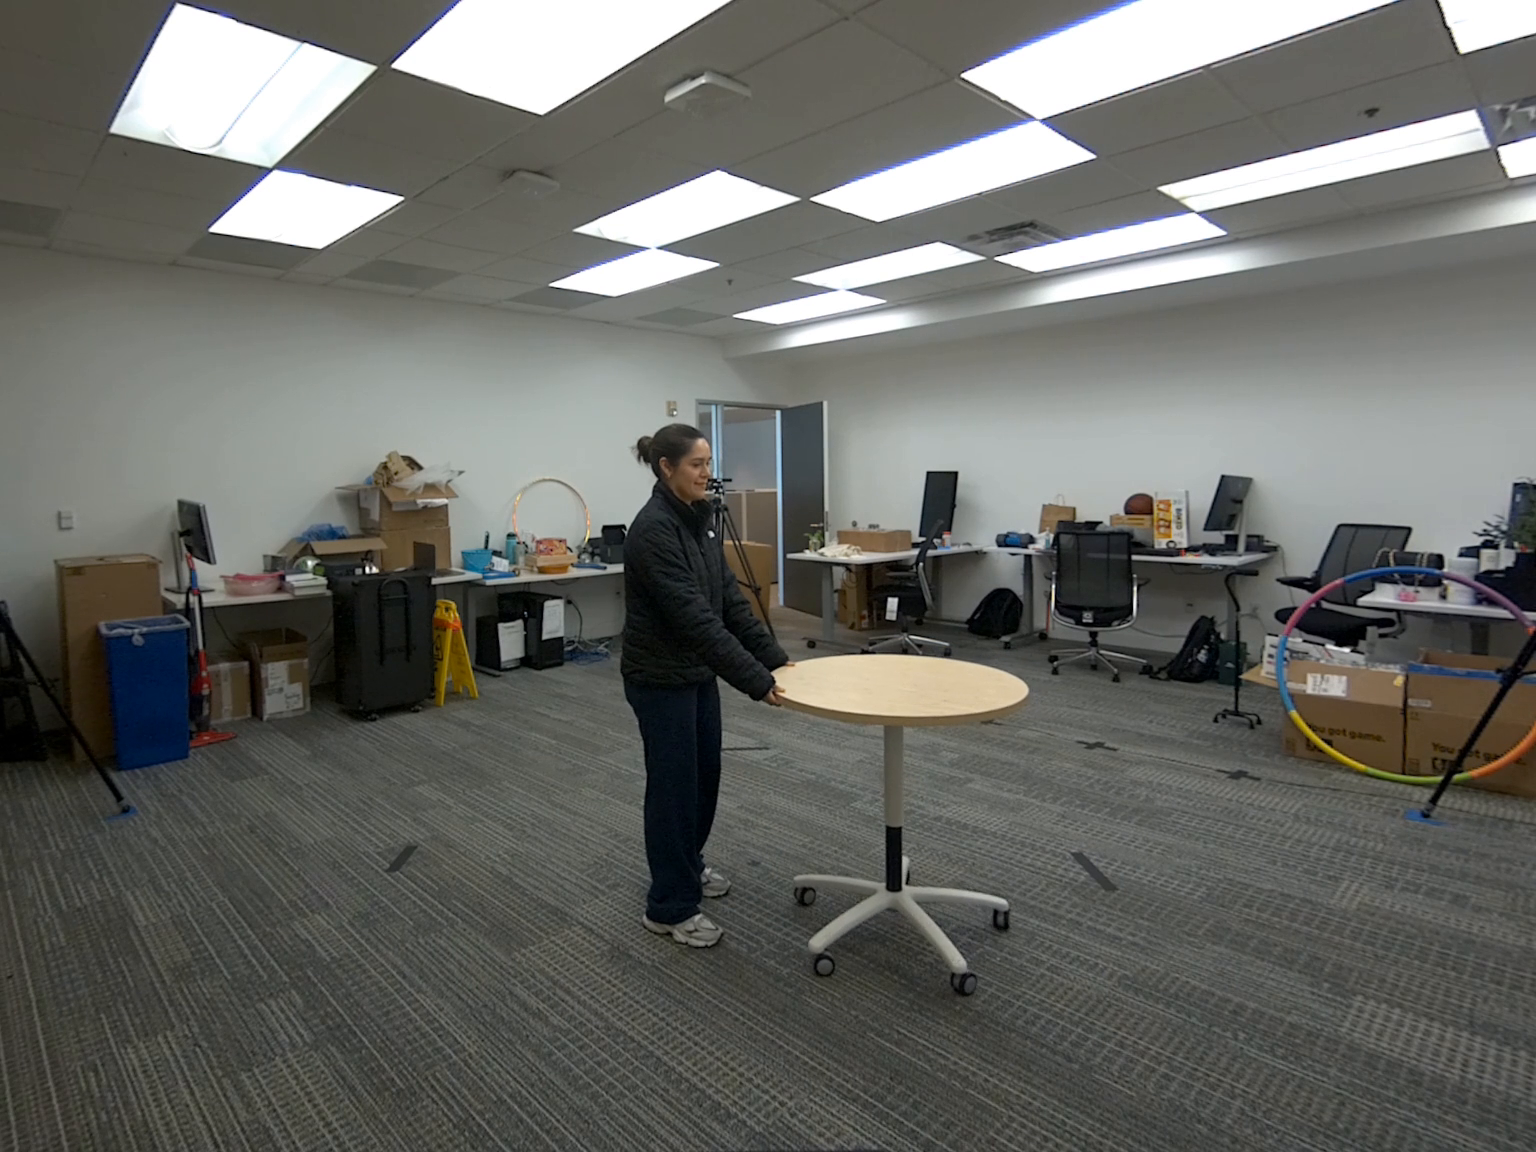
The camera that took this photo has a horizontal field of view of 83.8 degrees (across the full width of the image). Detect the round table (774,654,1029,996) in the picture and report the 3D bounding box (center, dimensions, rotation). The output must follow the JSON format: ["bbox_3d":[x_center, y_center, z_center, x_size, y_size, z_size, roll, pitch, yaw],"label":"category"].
[{"bbox_3d":[0.375,0.698,2.612,0.784,0.783,0.789,-1,5,-2],"label":"round table"}]
